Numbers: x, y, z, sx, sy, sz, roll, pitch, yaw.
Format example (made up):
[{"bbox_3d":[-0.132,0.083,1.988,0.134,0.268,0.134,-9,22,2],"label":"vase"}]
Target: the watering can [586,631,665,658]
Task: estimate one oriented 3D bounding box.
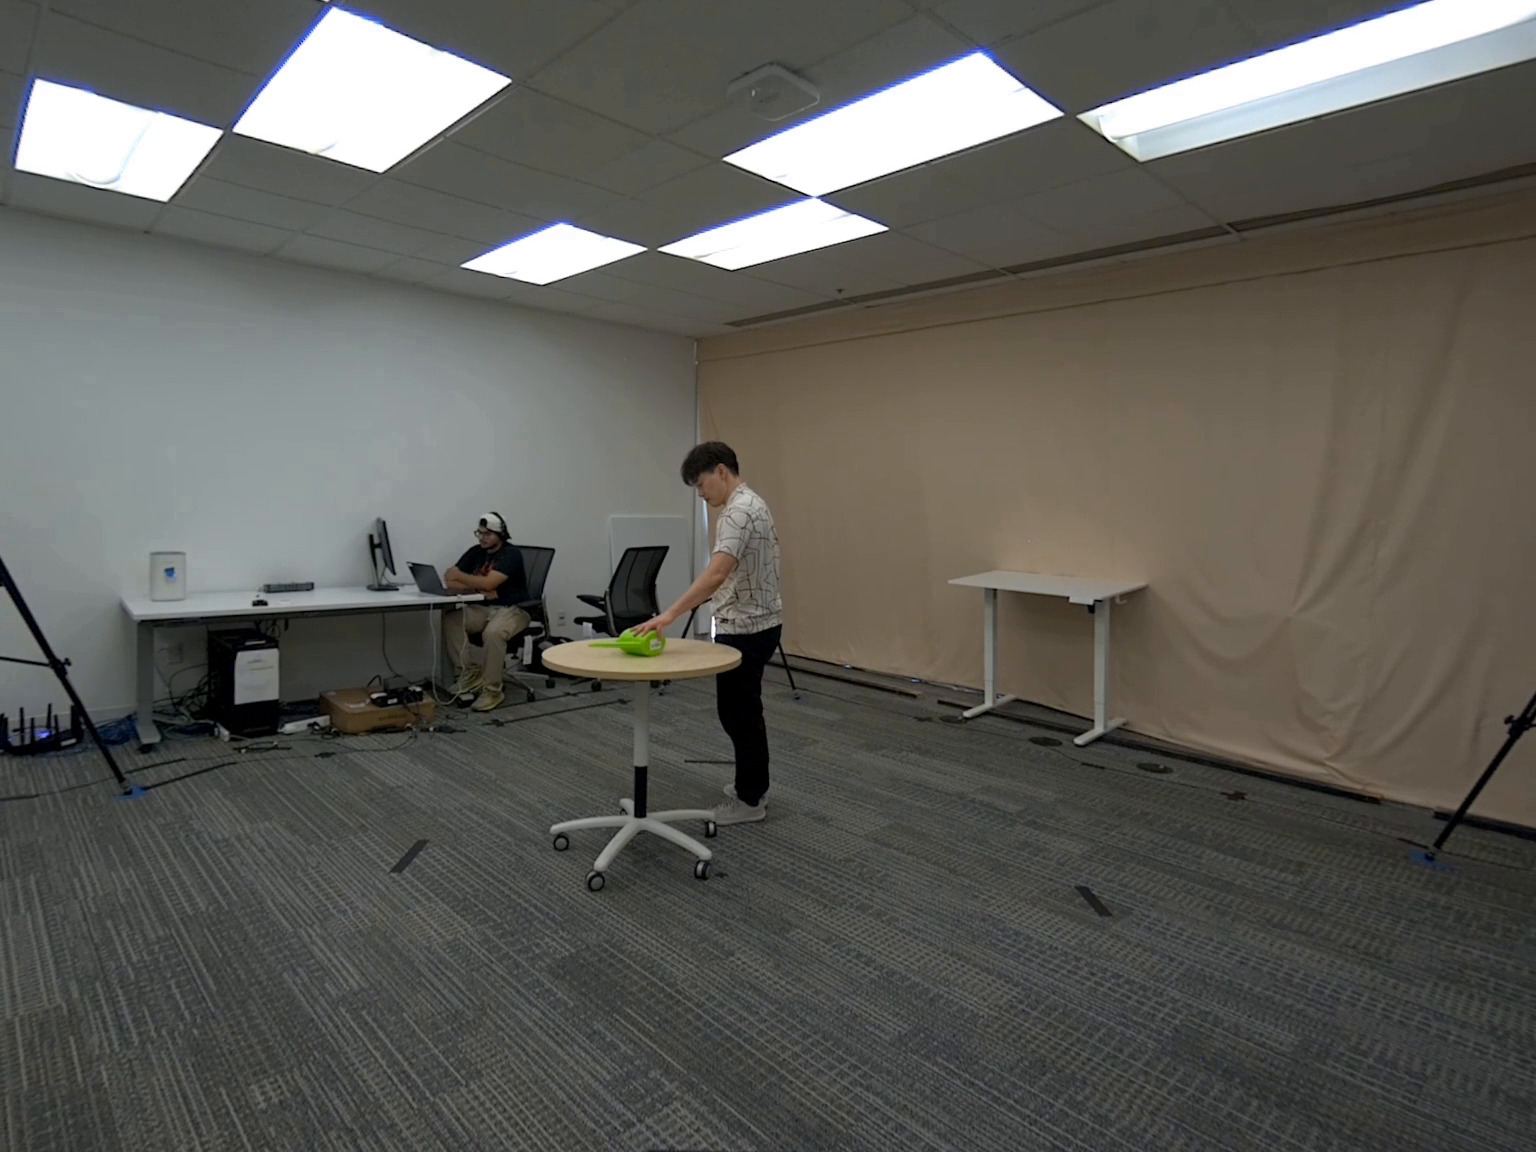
[{"bbox_3d":[-0.532,0.266,3.204,0.181,0.097,0.275,5,19,35],"label":"watering can"}]
